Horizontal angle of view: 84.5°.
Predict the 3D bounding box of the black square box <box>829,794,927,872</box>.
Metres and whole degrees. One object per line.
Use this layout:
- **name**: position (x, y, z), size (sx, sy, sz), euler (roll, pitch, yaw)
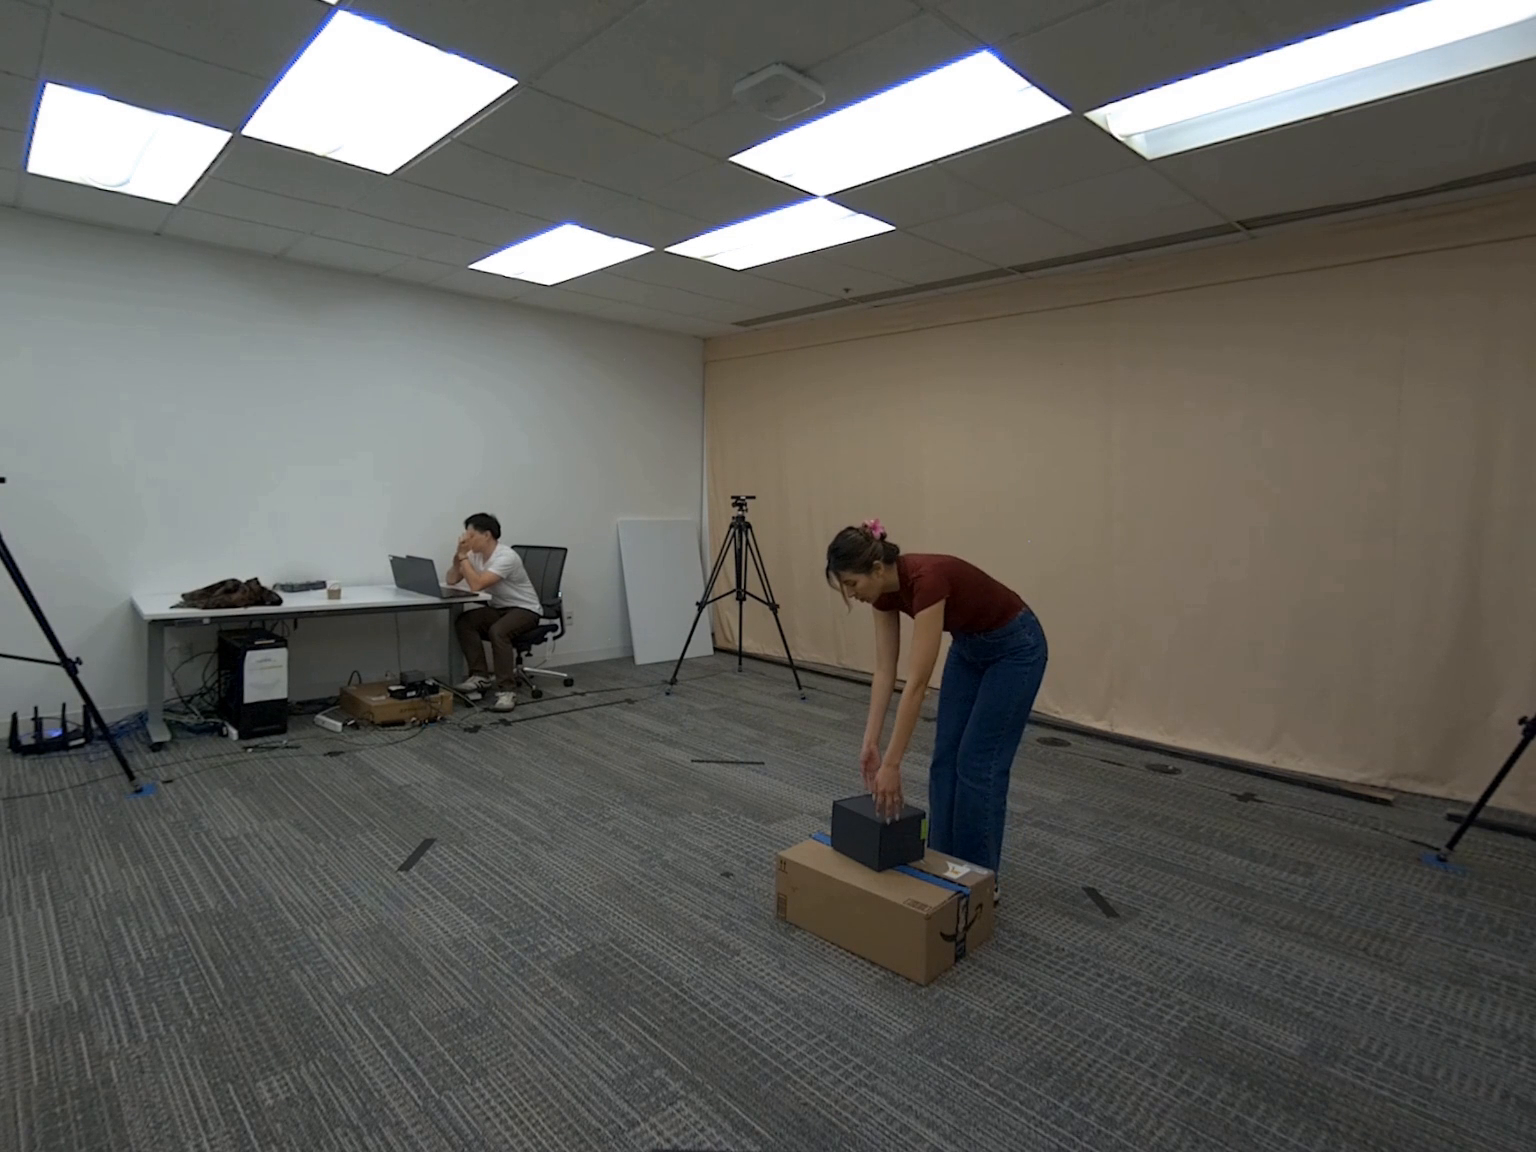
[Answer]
- **black square box**: position (0.362, 0.841, 2.794), size (0.212, 0.155, 0.233), euler (1, 4, -37)
